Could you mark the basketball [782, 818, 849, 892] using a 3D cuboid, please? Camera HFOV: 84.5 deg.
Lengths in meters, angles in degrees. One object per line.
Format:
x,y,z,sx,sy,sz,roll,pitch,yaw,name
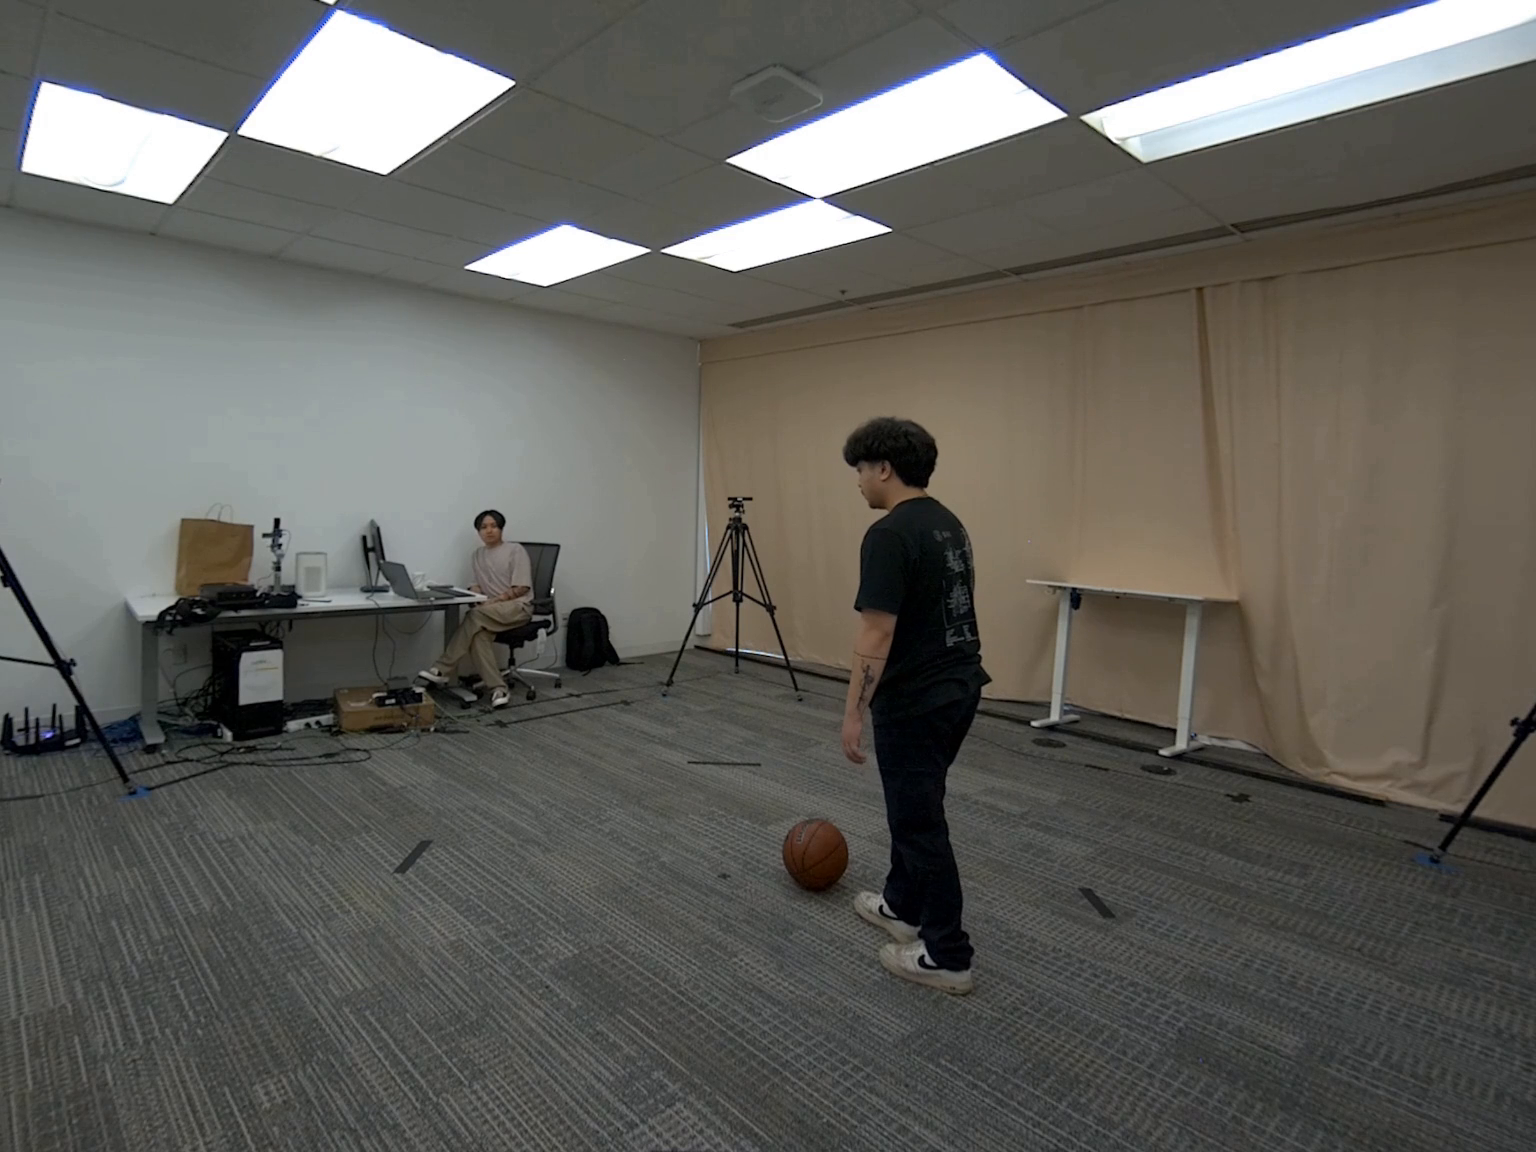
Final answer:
0.160,1.000,3.033,0.236,0.235,0.237,1,4,-1,basketball
